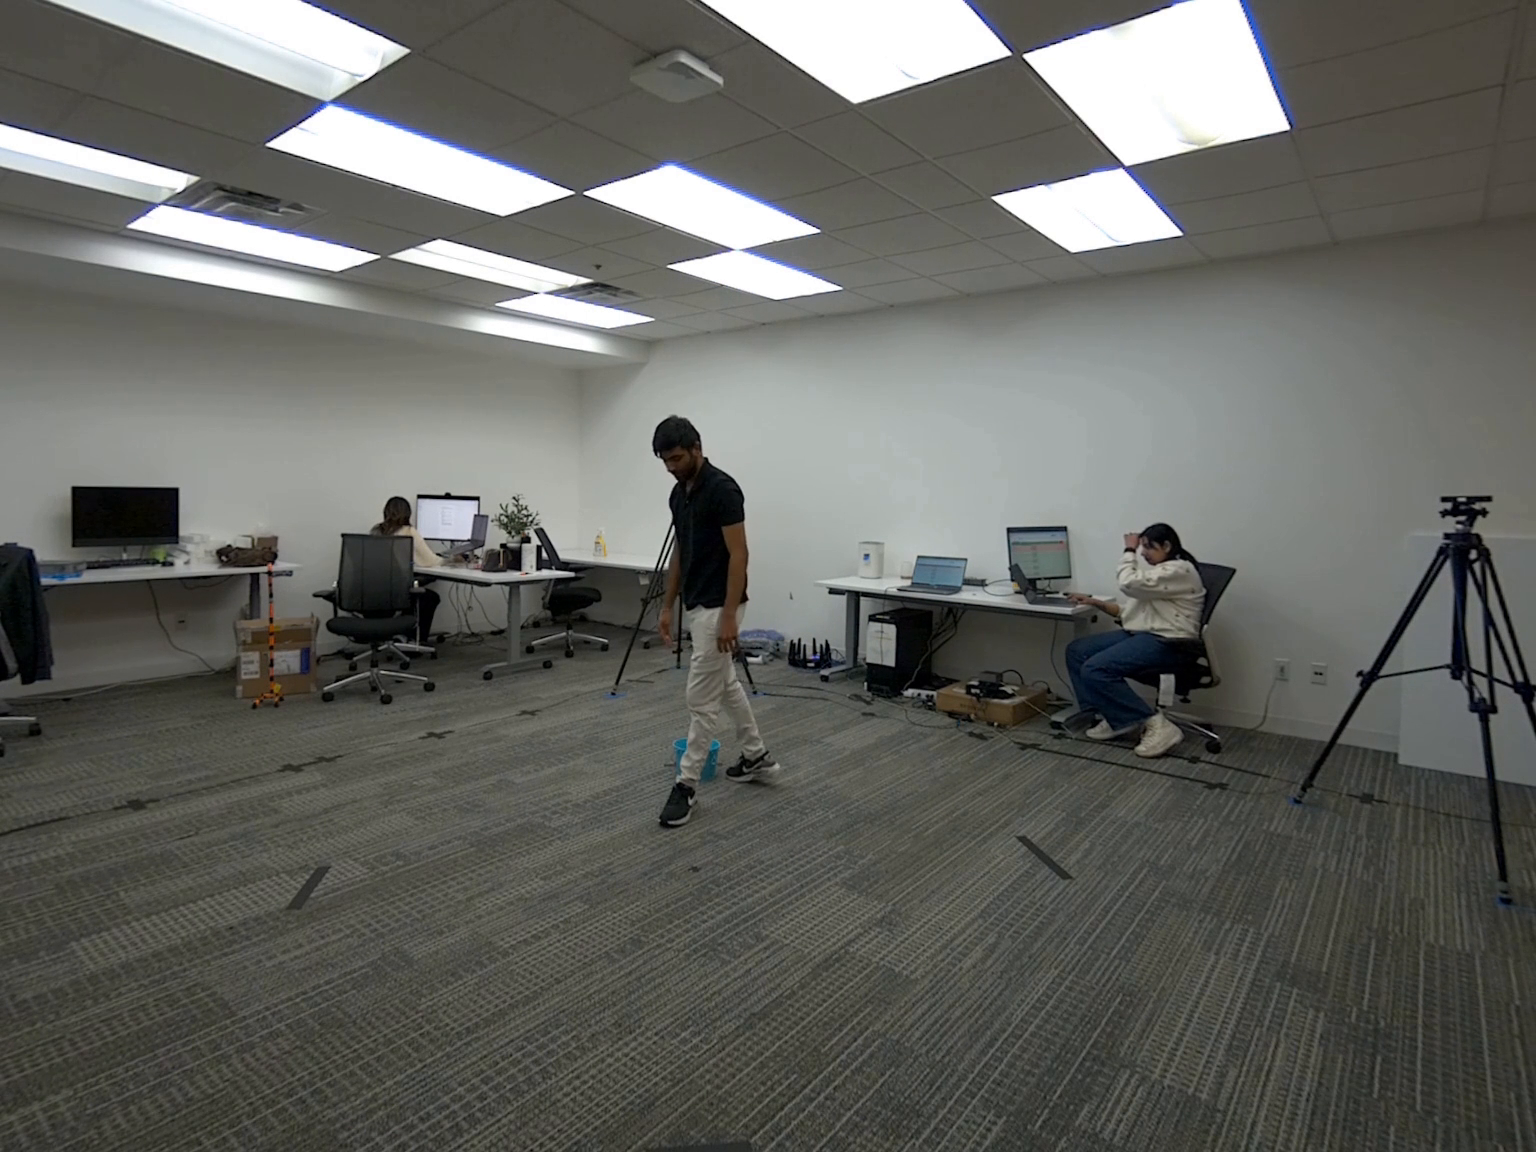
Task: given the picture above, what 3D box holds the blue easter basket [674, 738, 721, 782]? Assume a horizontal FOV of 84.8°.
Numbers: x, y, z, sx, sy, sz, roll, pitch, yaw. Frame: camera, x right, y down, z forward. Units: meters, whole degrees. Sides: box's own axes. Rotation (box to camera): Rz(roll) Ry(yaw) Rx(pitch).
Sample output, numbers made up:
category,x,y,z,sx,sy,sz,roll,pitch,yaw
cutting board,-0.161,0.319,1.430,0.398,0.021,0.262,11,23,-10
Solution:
category,x,y,z,sx,sy,sz,roll,pitch,yaw
blue easter basket,-0.355,0.884,4.135,0.243,0.155,0.245,1,5,-2
